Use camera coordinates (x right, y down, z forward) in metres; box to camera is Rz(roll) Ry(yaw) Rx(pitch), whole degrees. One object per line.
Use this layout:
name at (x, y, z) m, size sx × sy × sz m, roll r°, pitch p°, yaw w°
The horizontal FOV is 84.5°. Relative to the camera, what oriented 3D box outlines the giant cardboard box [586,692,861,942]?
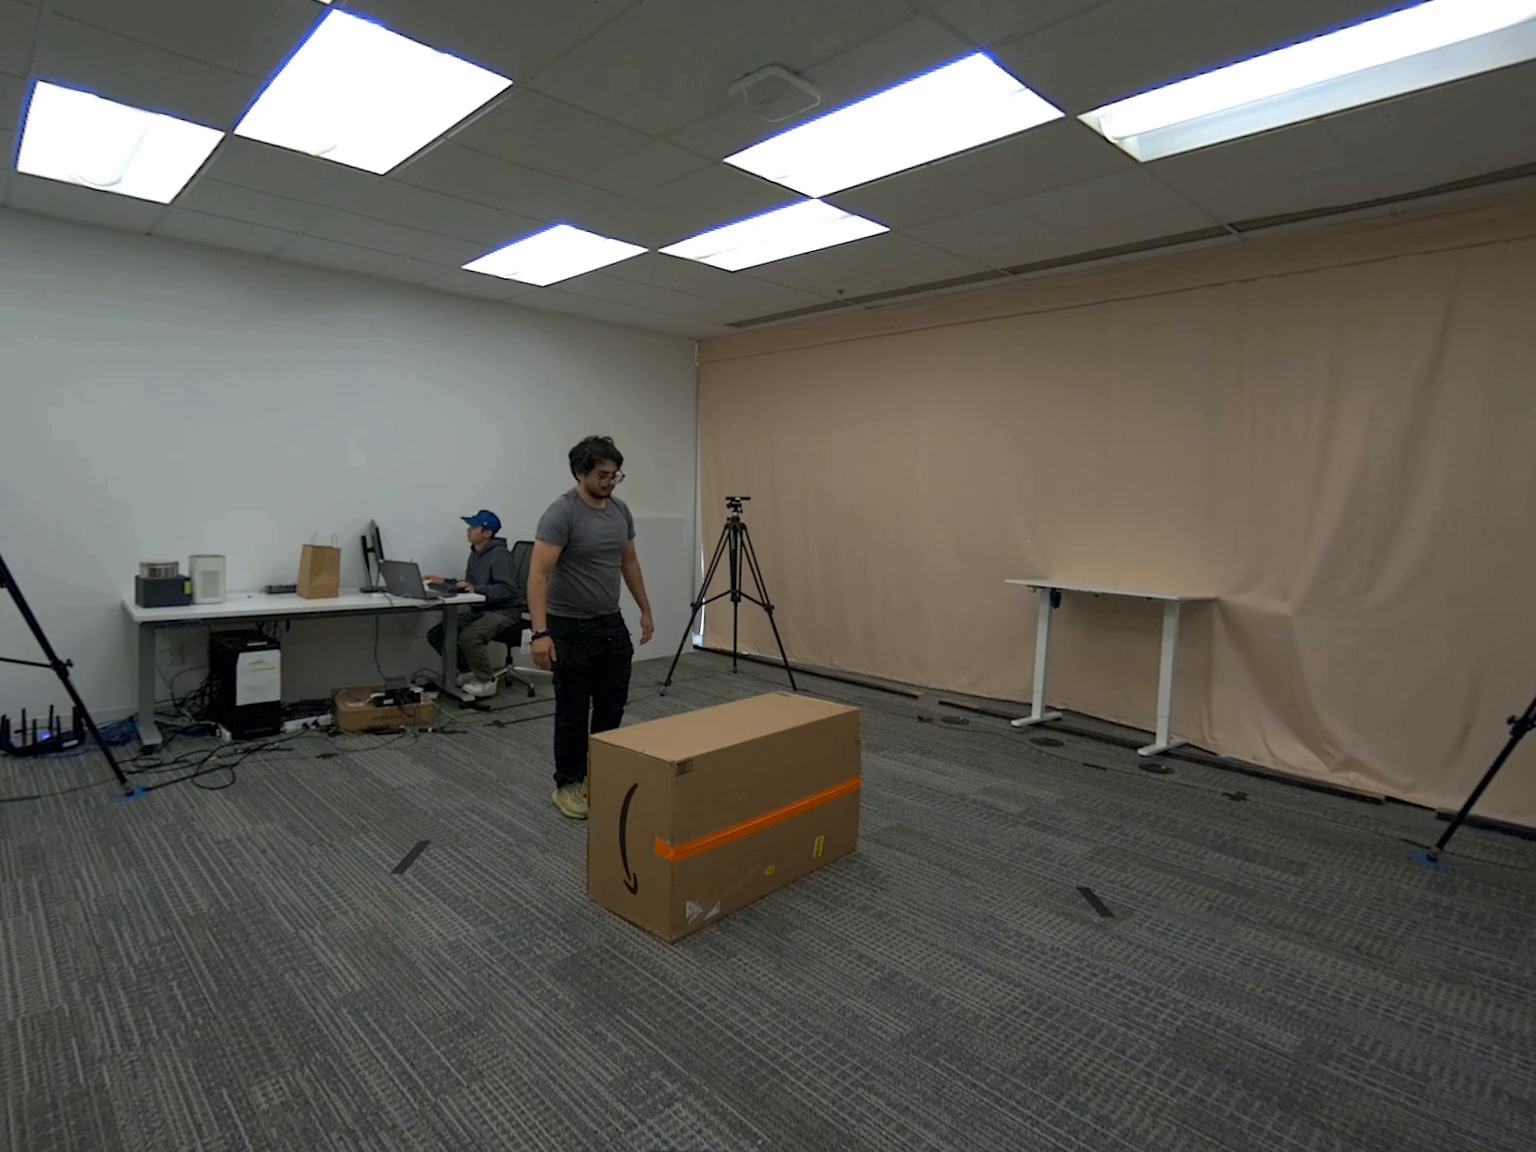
giant cardboard box at (-0.130, 0.816, 3.108) m, size 0.437 × 0.576 × 1.003 m, roll 5°, pitch 6°, yaw 41°
